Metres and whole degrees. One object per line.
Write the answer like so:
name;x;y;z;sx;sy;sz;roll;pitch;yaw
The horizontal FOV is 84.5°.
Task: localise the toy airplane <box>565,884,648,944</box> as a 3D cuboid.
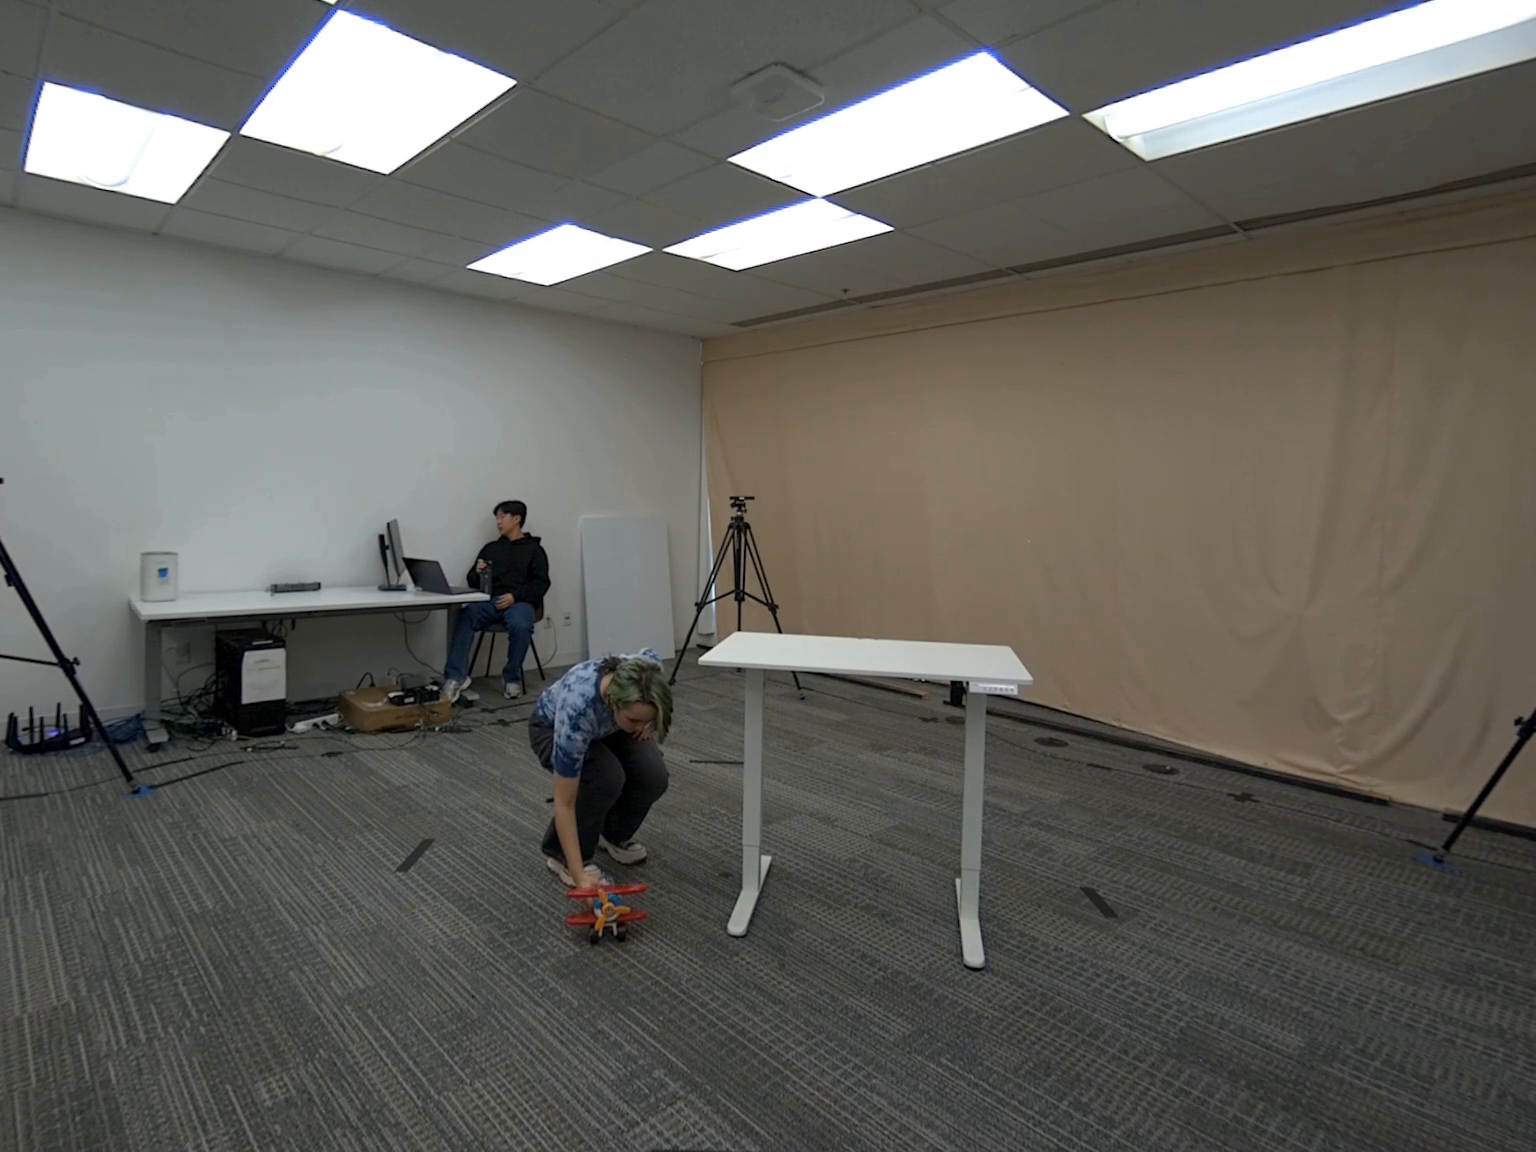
toy airplane;-0.552;1.065;2.695;0.245;0.156;0.266;-2;6;-40
